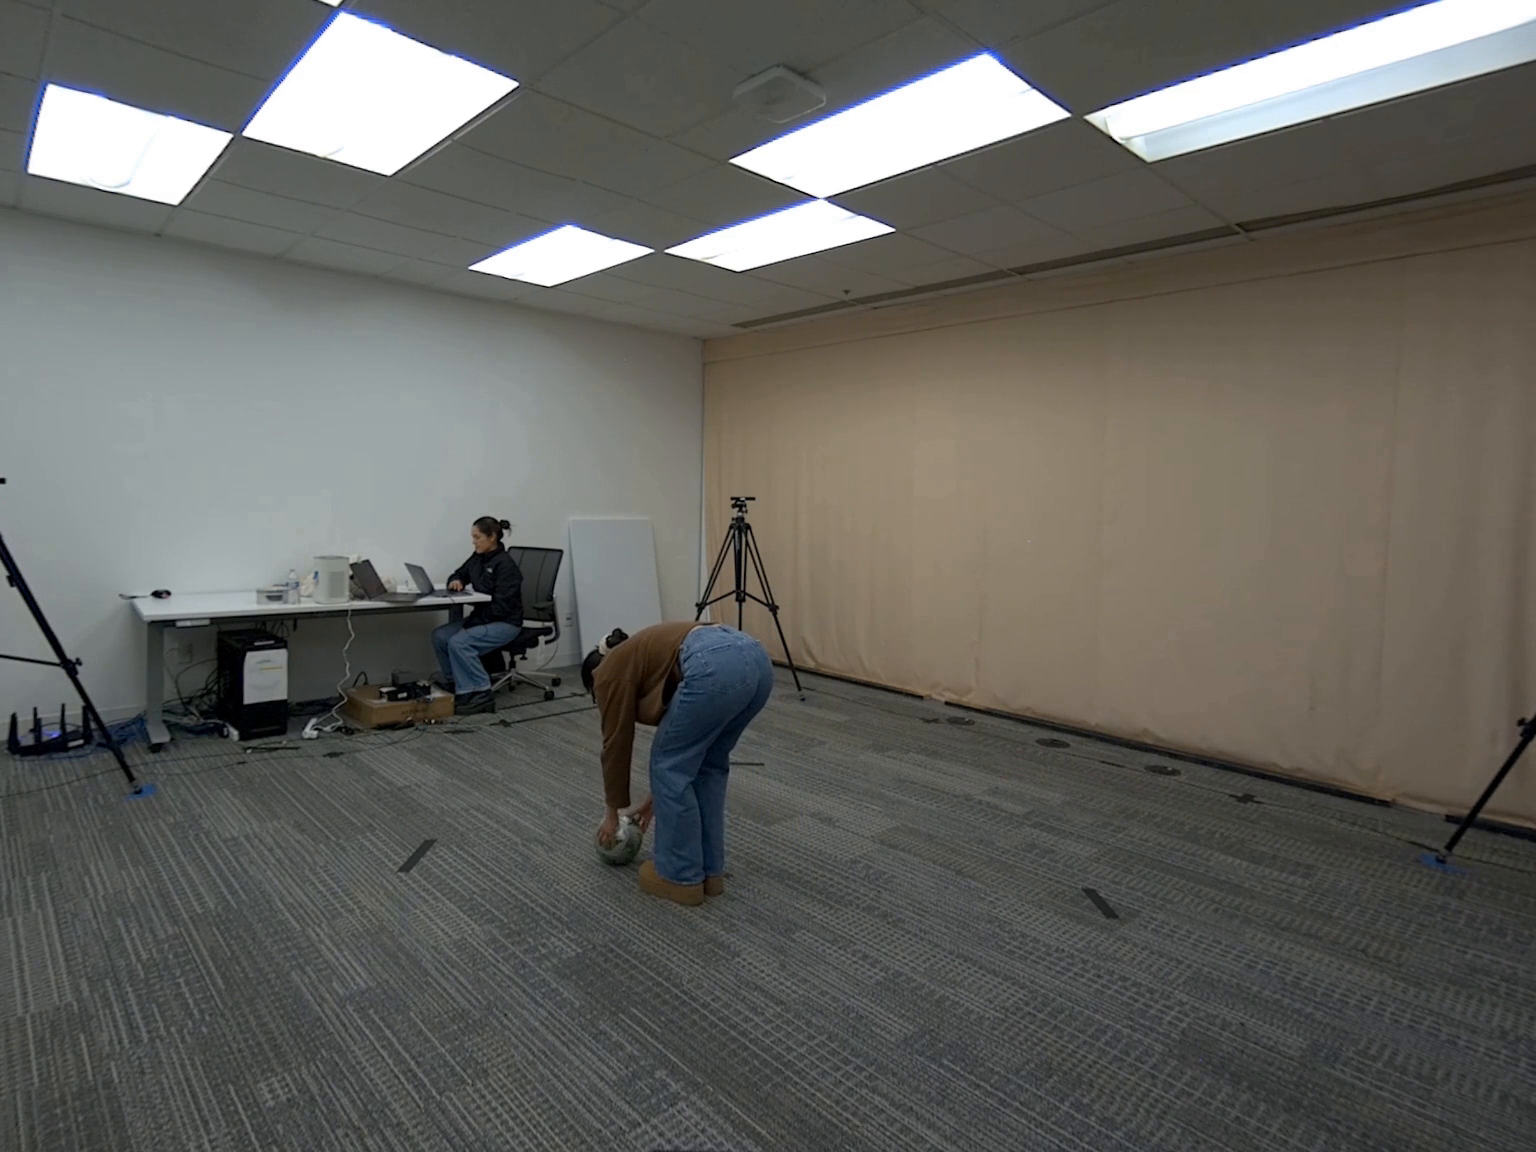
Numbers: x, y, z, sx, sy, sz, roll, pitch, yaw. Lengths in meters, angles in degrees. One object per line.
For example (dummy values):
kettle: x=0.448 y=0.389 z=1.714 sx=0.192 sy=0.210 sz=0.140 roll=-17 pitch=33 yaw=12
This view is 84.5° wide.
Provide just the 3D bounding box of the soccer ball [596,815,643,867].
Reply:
soccer ball: x=-0.578 y=1.001 z=3.194 sx=0.187 sy=0.187 sz=0.188 roll=1 pitch=4 yaw=-1
